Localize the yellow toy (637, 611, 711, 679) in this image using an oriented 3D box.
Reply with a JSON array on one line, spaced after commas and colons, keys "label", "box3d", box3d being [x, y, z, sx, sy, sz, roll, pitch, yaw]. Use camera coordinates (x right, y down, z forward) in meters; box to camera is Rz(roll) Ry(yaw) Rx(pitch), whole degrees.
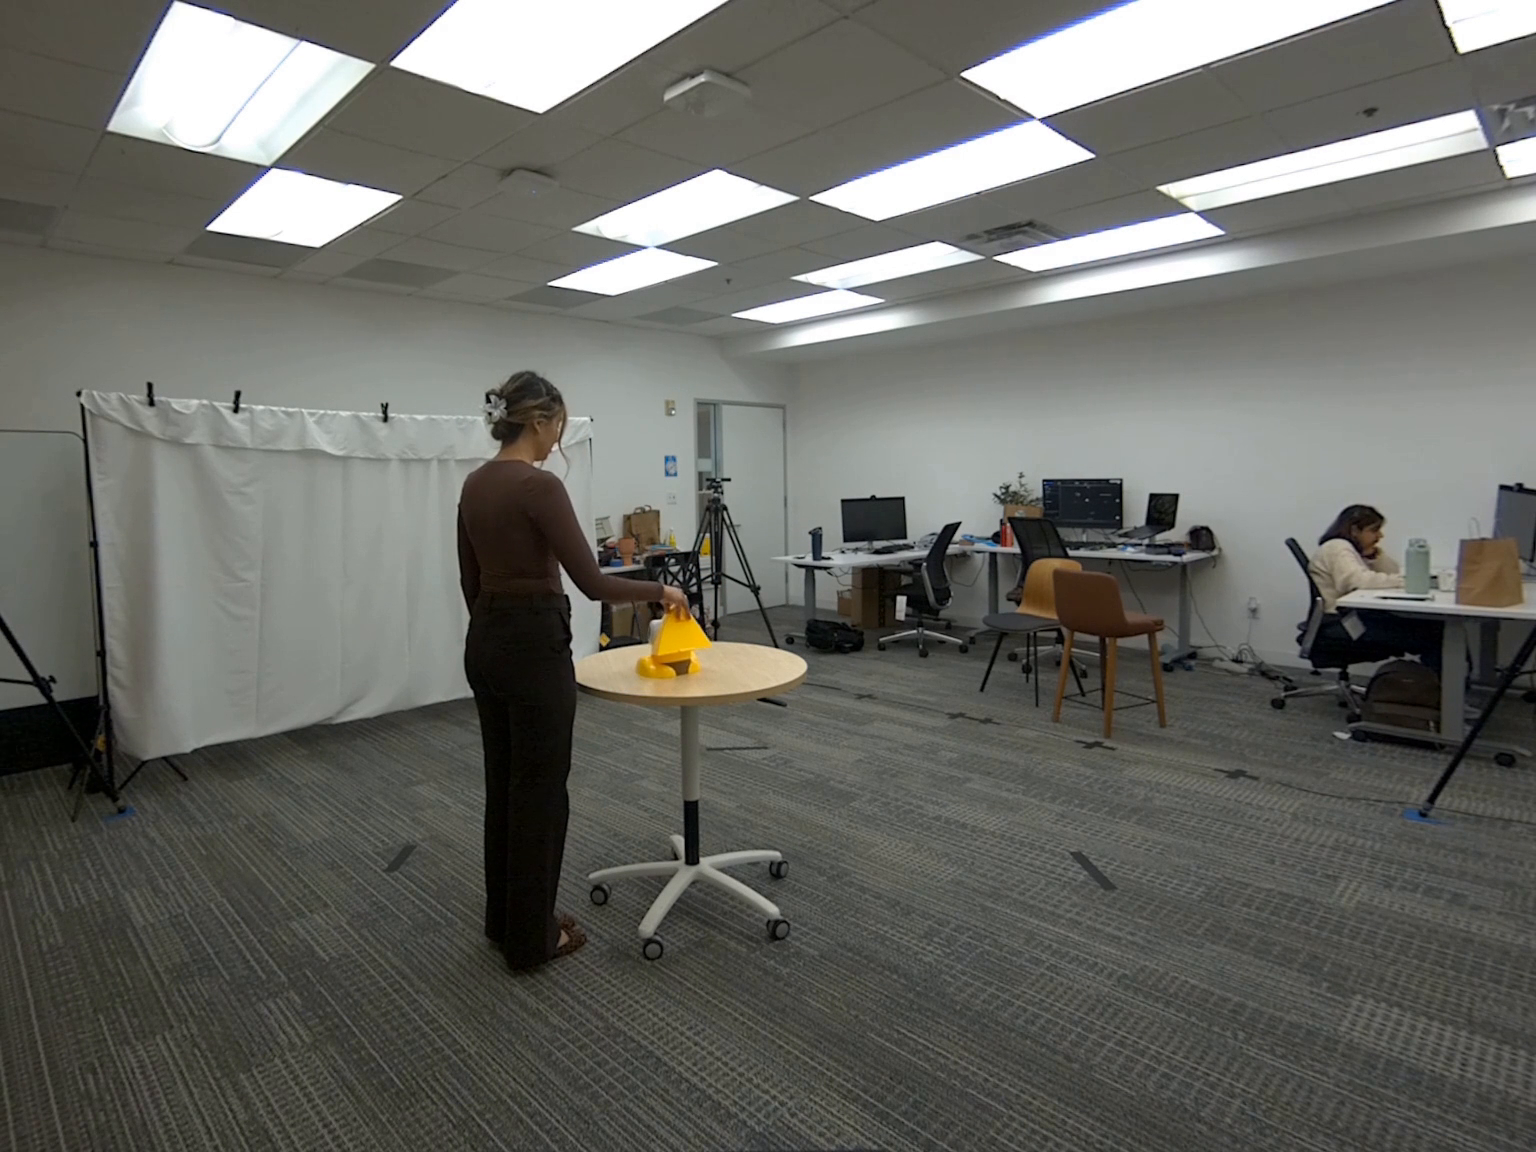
[{"label": "yellow toy", "box3d": [-0.306, 0.186, 2.676, 0.199, 0.230, 0.199, -6, 6, -38]}]
